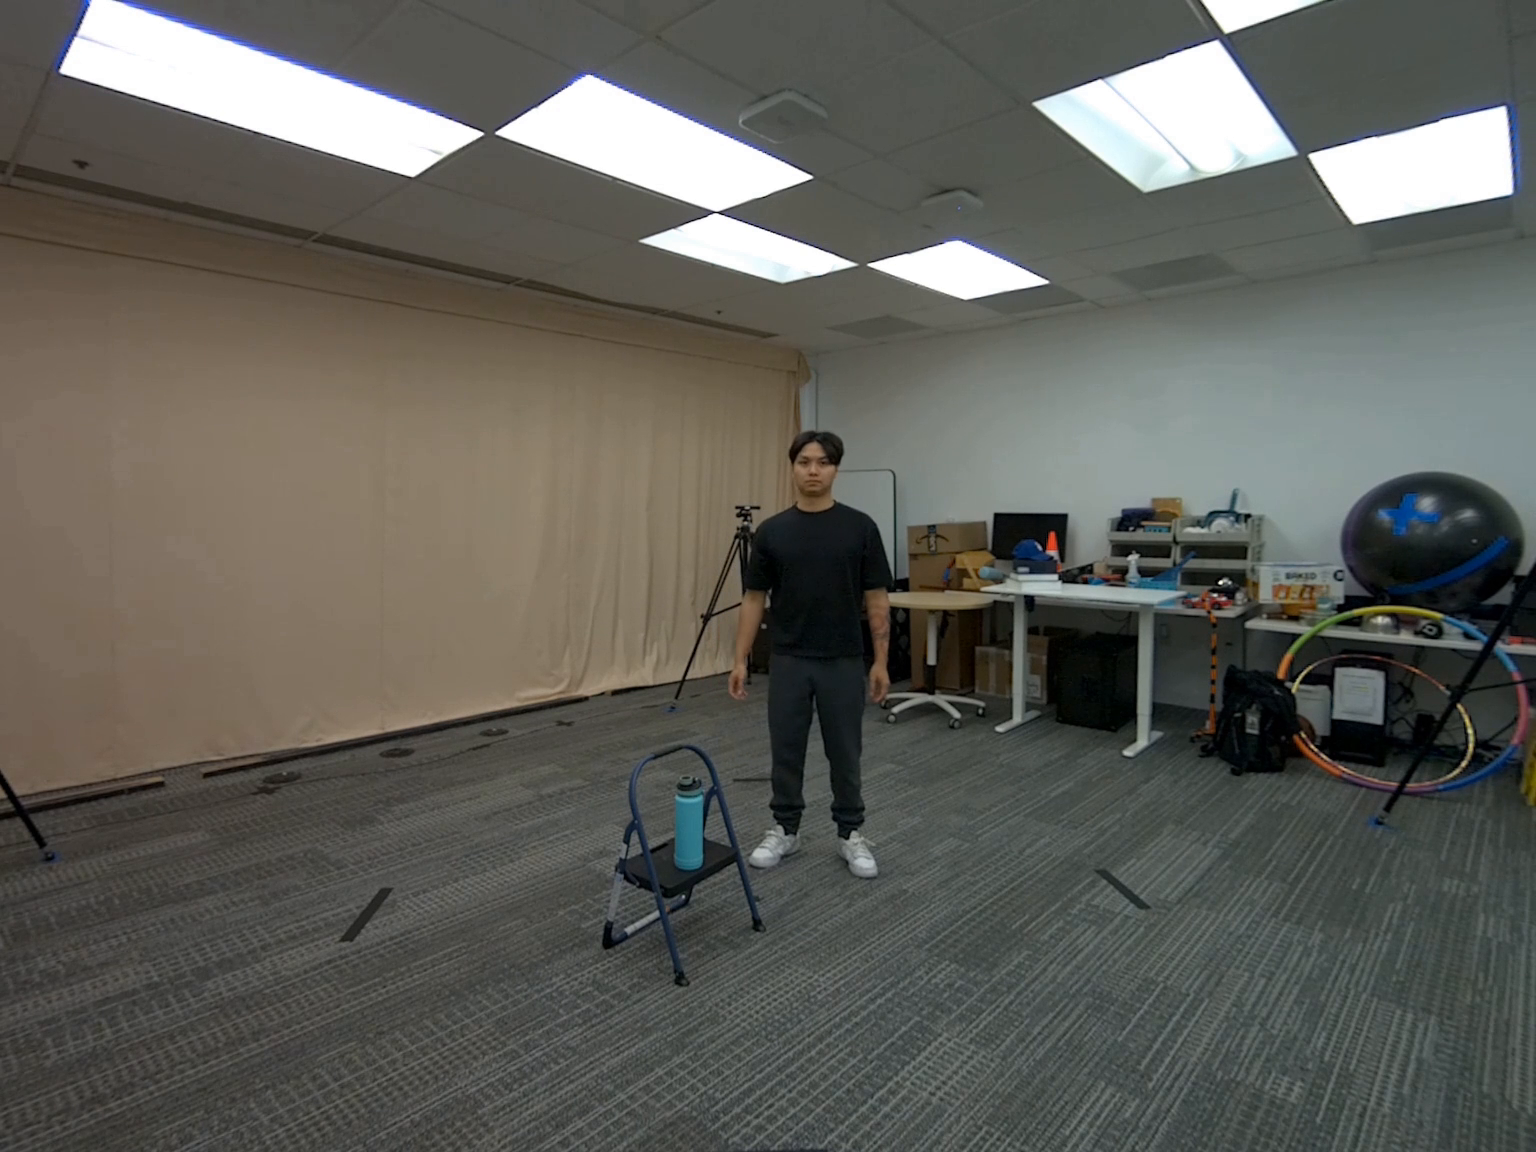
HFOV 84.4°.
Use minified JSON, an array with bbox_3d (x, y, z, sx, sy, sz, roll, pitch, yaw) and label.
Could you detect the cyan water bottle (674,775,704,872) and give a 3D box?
[{"bbox_3d":[-0.254,0.776,2.647,0.092,0.282,0.093,-1,4,-2],"label":"cyan water bottle"}]
